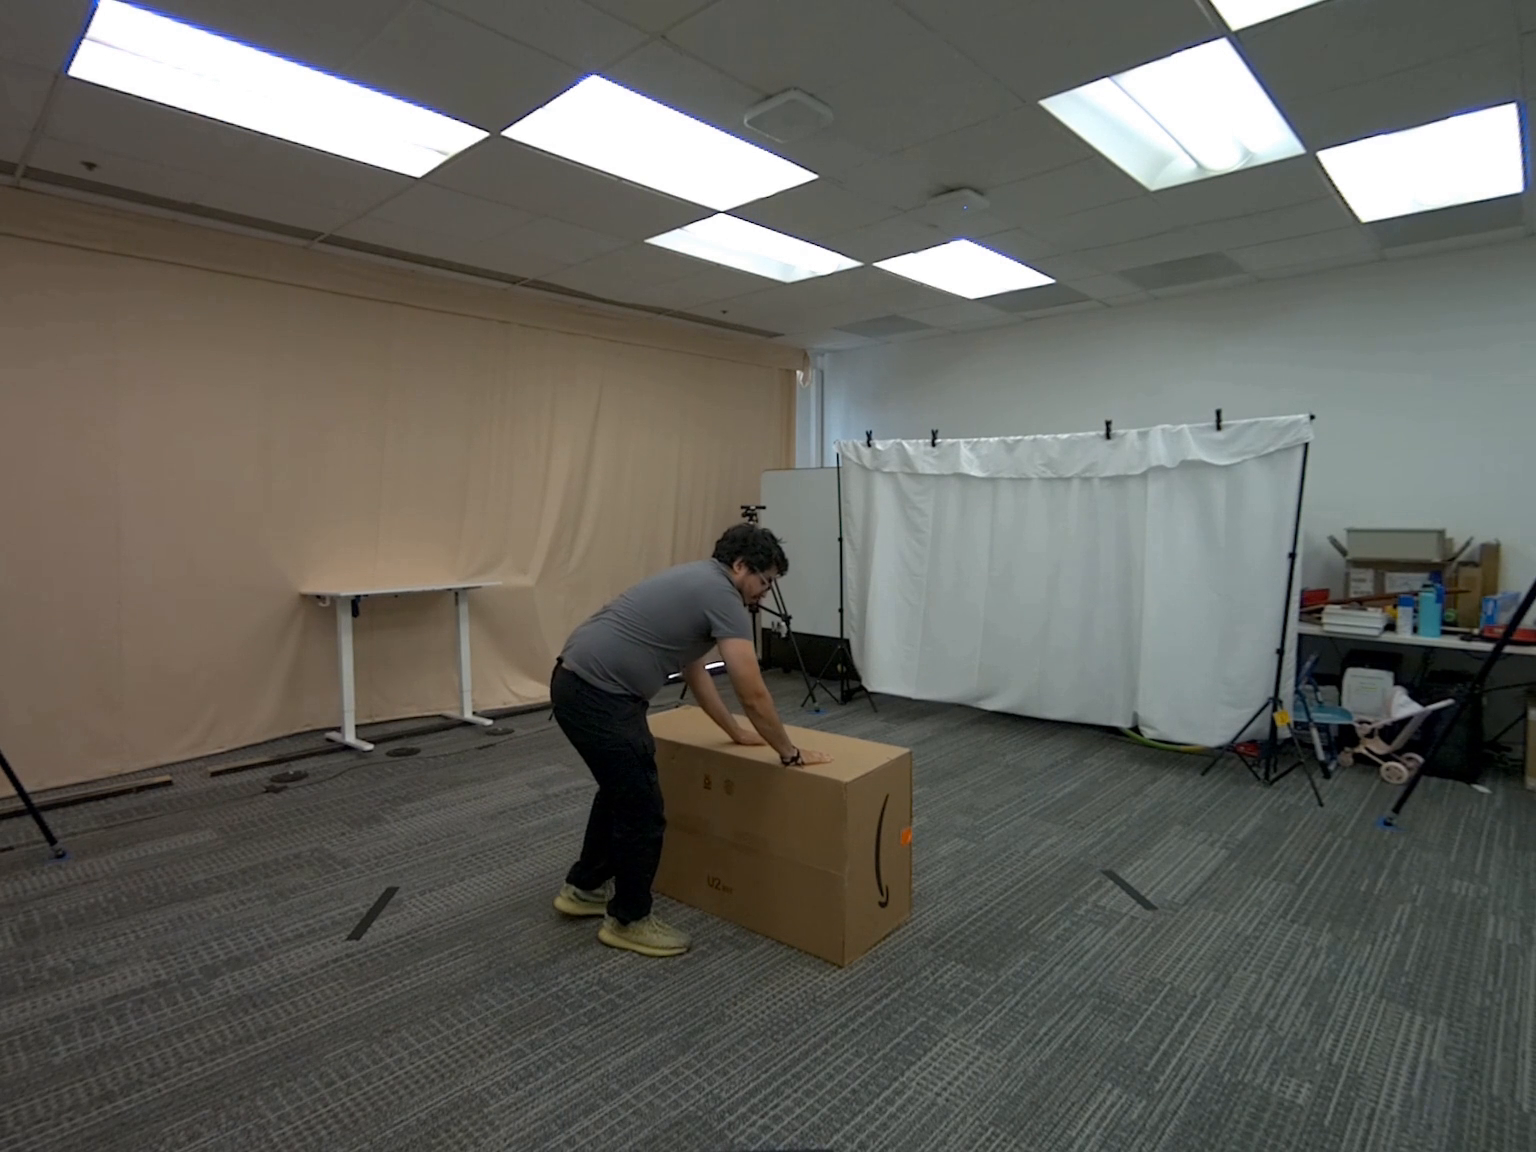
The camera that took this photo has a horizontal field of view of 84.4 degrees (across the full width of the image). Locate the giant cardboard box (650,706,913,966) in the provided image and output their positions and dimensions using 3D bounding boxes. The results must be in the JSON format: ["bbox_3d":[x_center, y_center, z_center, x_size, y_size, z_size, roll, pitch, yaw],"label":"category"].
[{"bbox_3d":[-0.043,0.853,3.005,1.059,0.576,0.413,3,5,39],"label":"giant cardboard box"}]
